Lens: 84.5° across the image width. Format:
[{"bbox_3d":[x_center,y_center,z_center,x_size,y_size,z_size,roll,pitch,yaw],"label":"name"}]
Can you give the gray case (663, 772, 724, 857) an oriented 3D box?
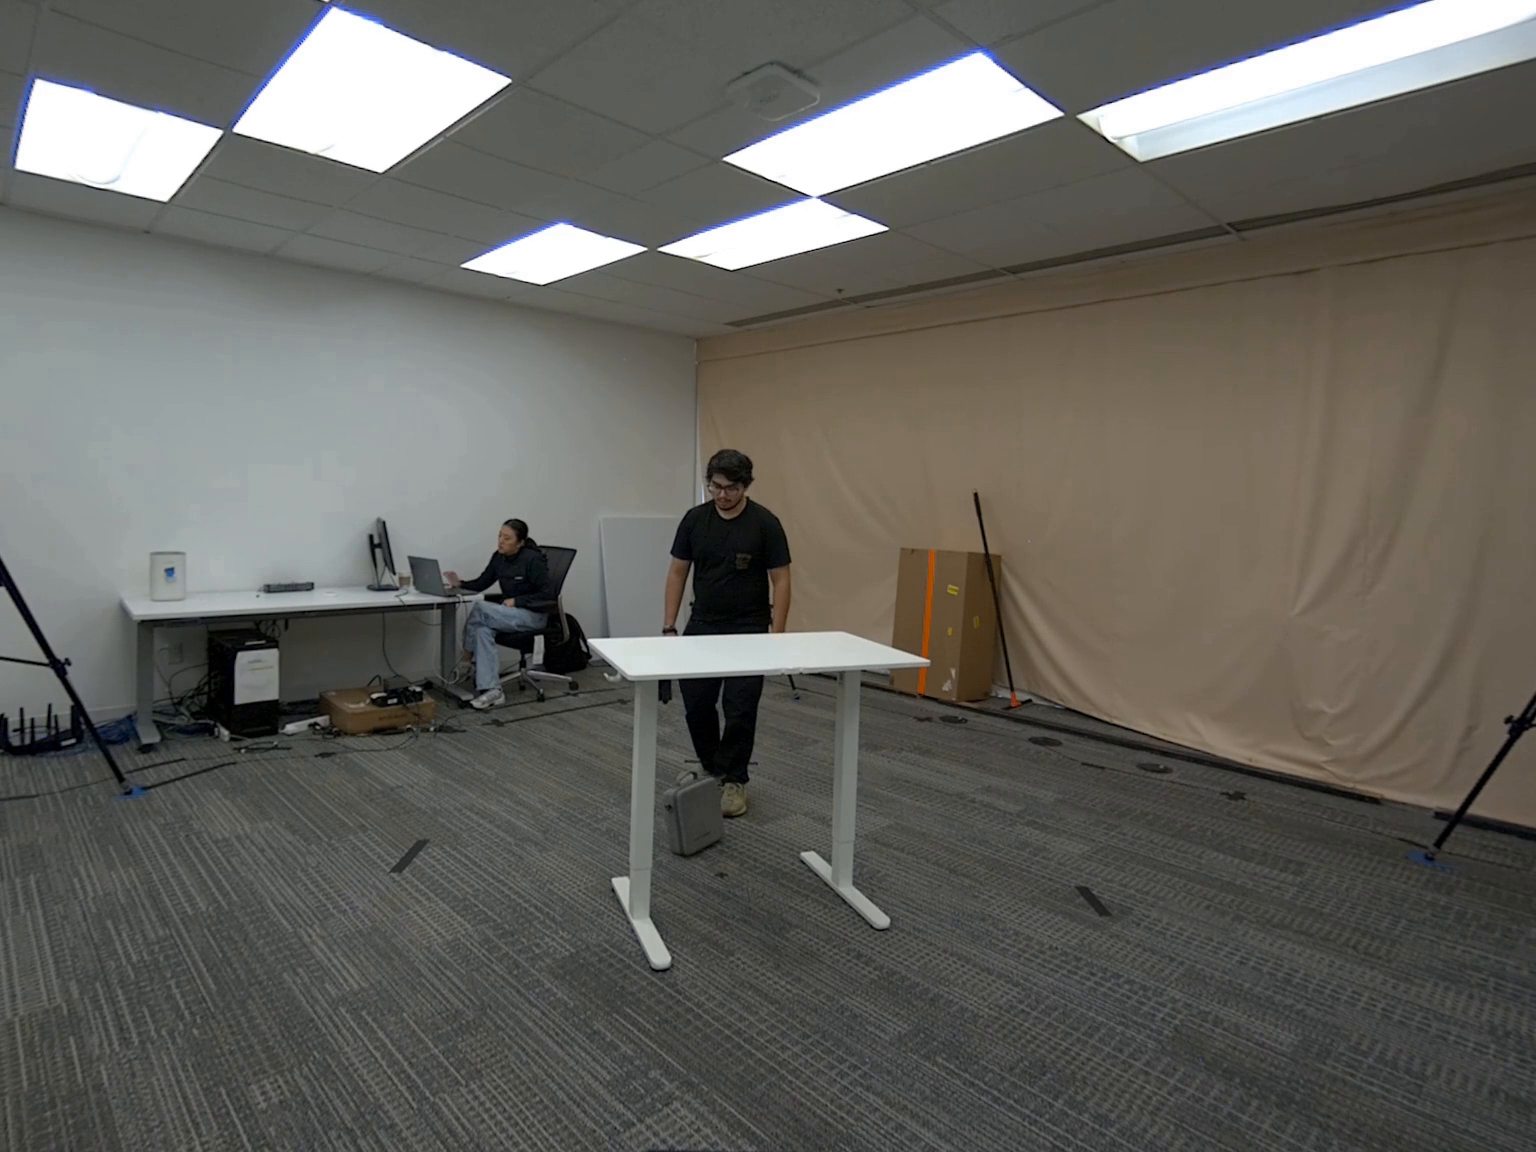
[{"bbox_3d":[-0.309,0.950,3.350,0.106,0.261,0.251,-9,-3,35],"label":"gray case"}]
